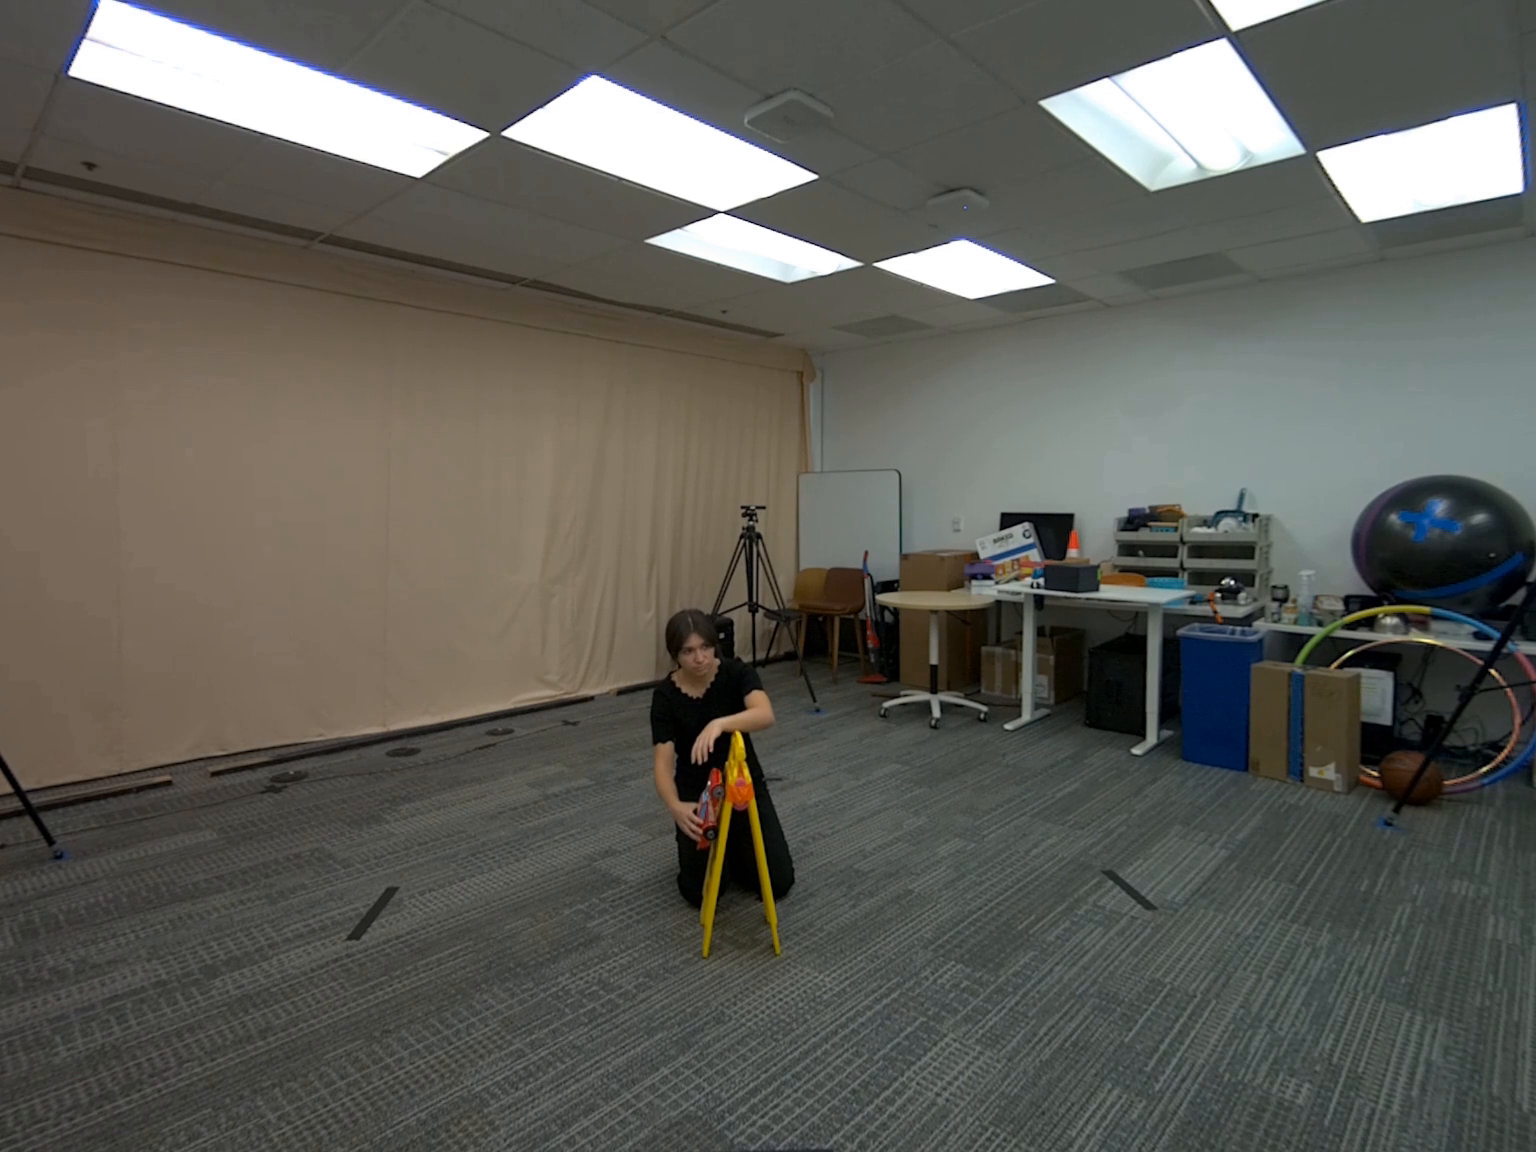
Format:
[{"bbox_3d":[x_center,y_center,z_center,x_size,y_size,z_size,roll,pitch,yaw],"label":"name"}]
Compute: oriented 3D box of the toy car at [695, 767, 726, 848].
[{"bbox_3d":[-0.180,0.753,2.722,0.082,0.254,0.132,17,11,-10],"label":"toy car"}]
